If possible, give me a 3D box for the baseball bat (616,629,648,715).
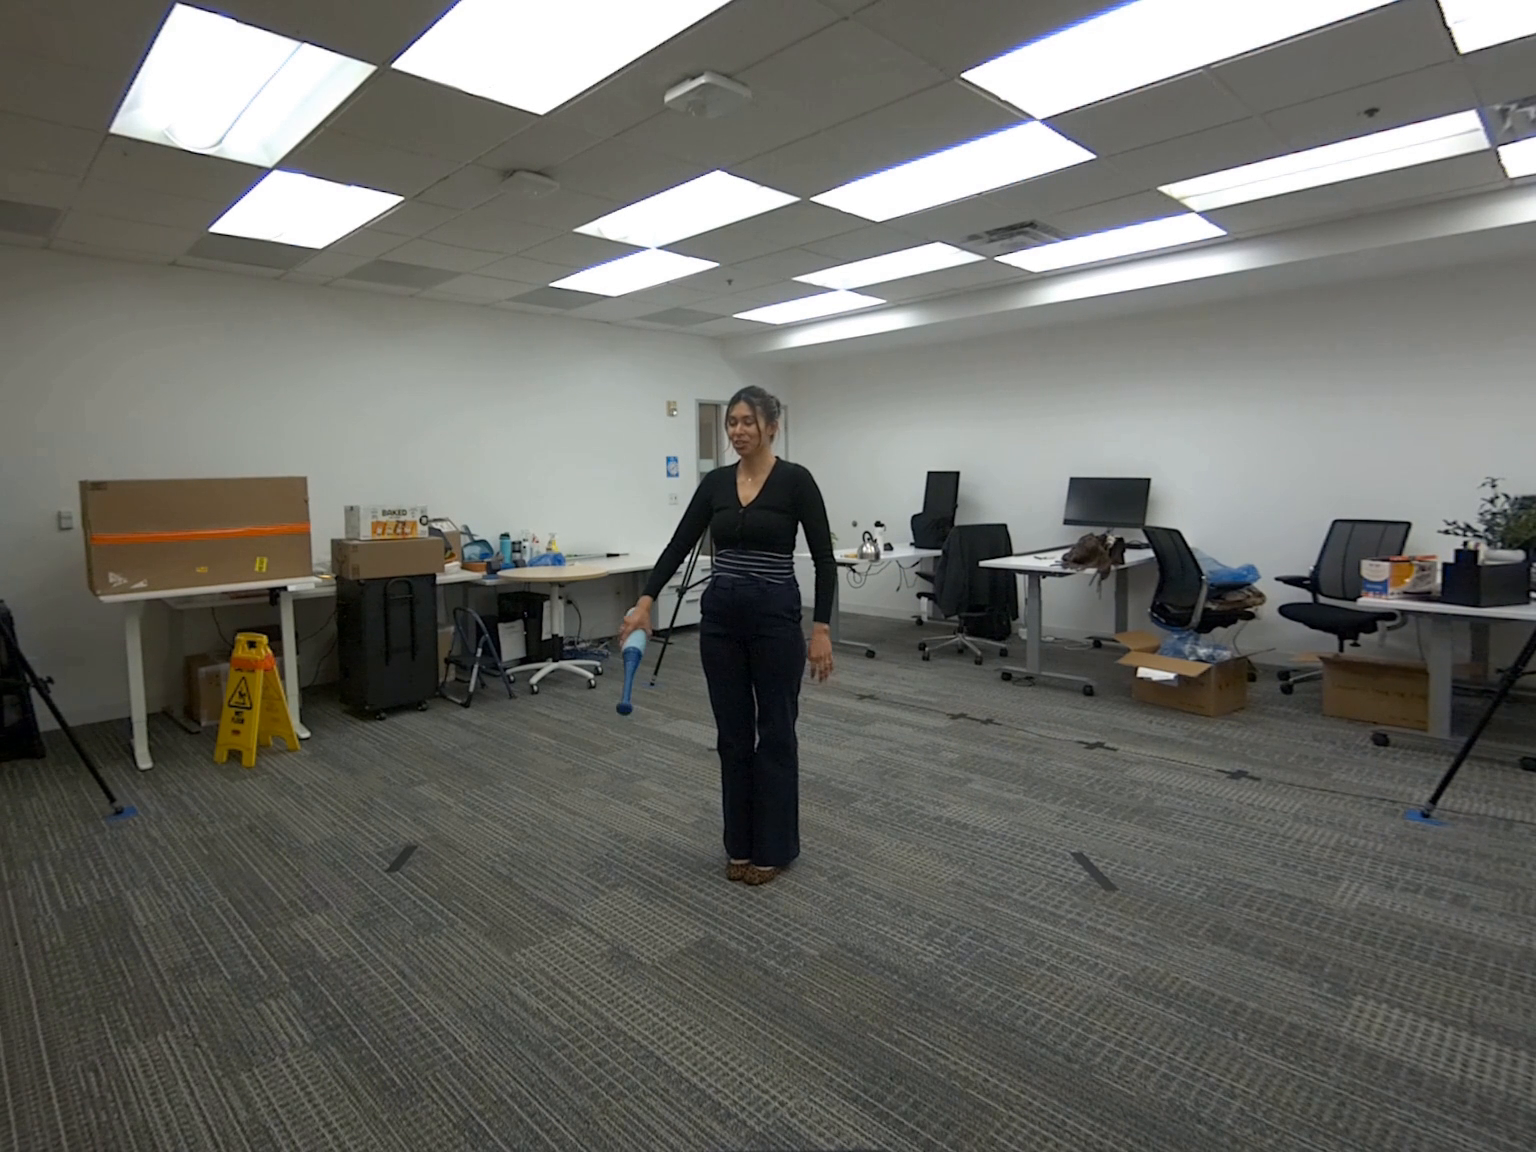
[{"bbox_3d":[-0.450,0.272,2.861,0.089,0.087,0.556,-2,30,-1],"label":"baseball bat"}]
